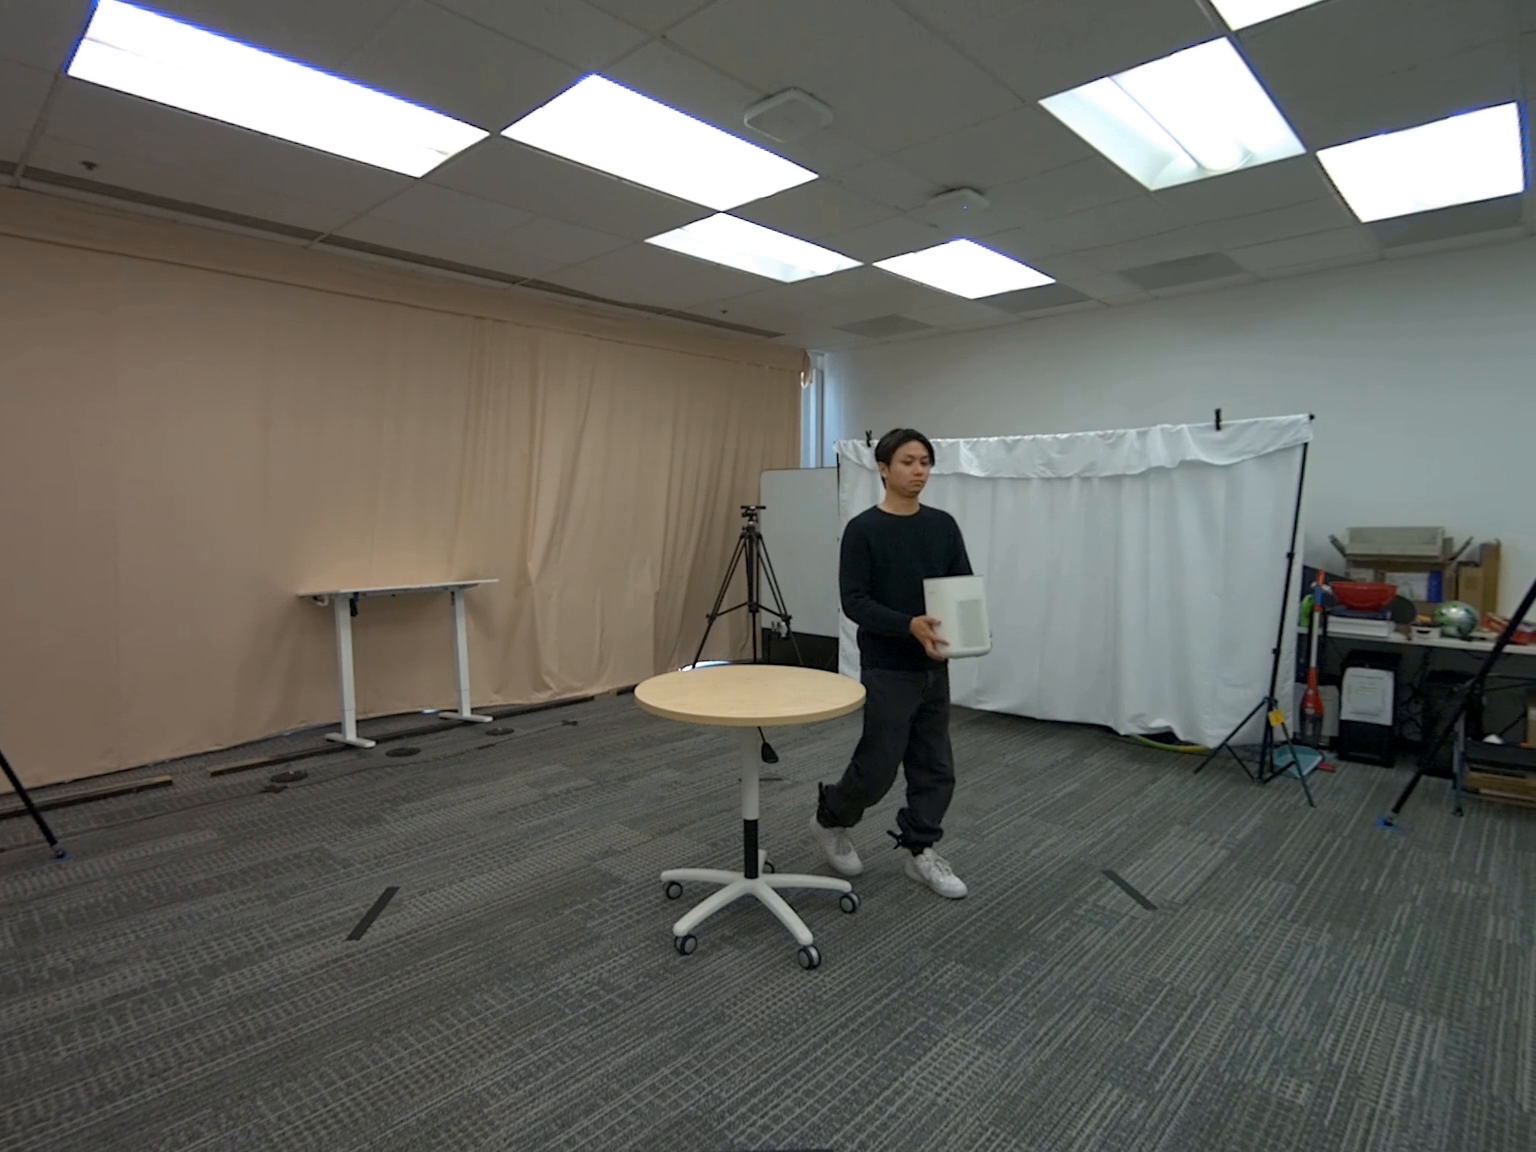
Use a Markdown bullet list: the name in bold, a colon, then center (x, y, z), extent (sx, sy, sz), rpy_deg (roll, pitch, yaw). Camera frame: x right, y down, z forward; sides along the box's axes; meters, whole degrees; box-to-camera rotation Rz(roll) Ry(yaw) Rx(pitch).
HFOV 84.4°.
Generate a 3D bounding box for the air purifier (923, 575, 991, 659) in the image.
- **air purifier**: center (0.619, 0.134, 2.809), extent (0.169, 0.266, 0.173), rpy_deg (-2, -4, -15)
